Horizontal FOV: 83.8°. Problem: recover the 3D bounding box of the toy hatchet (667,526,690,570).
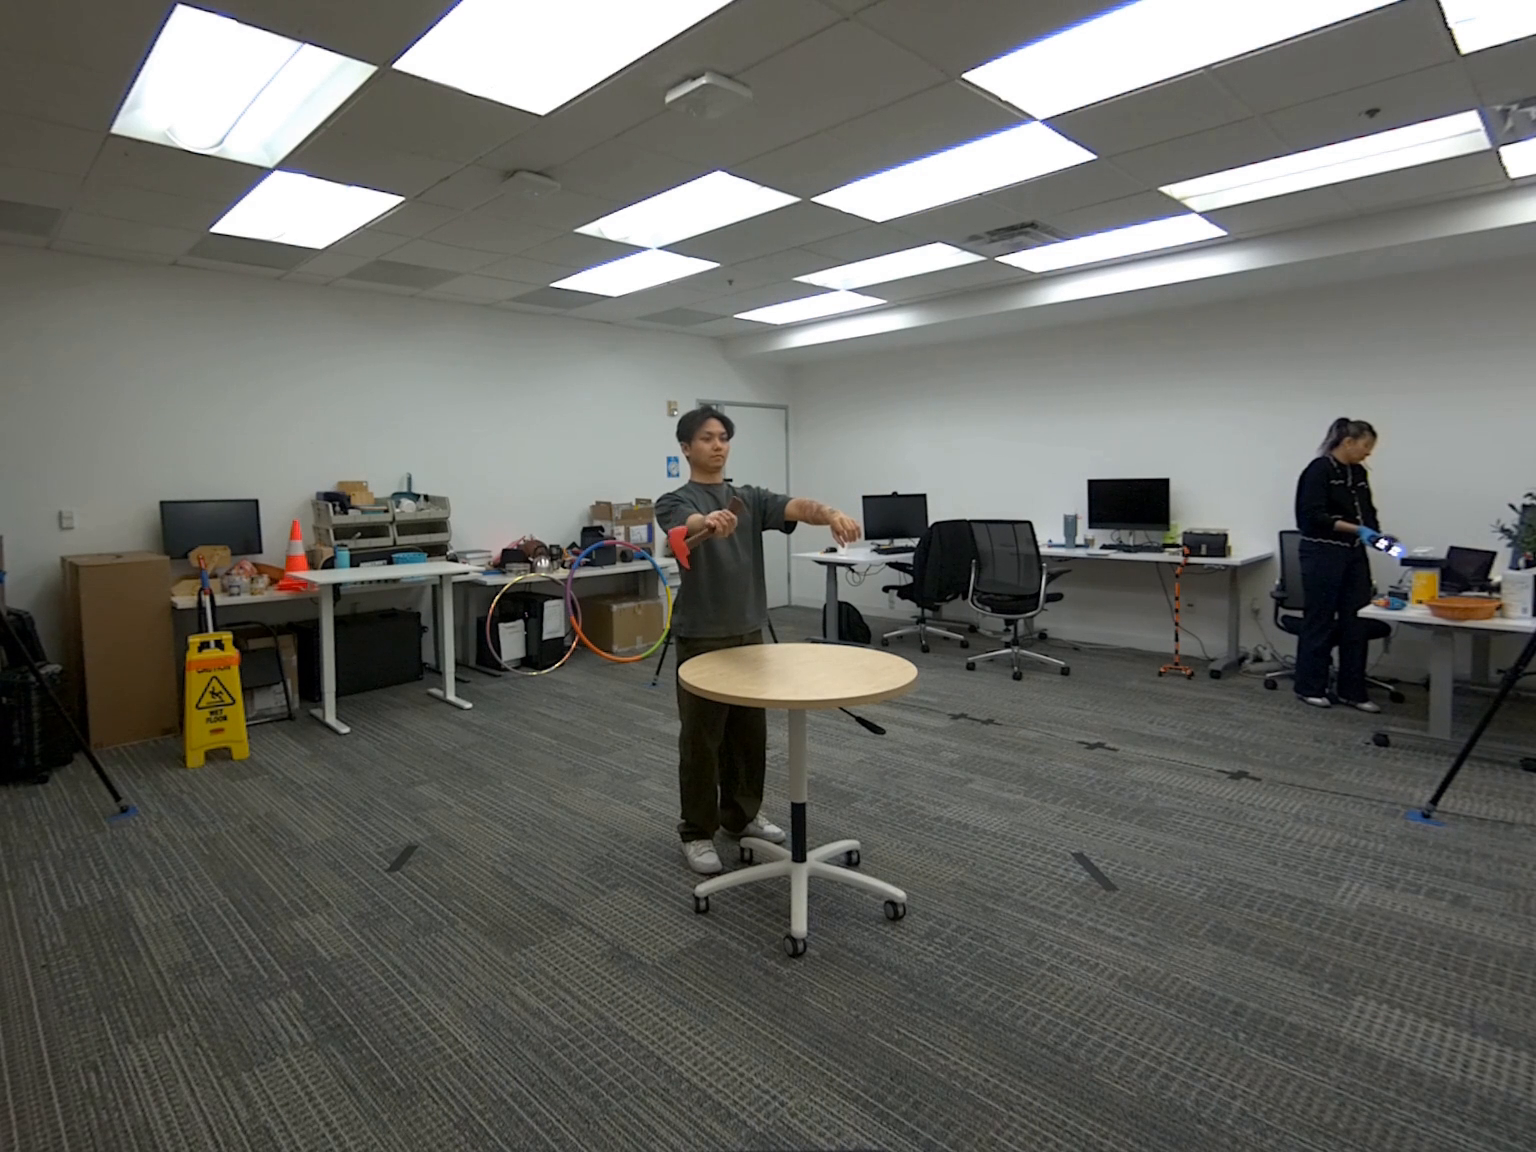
[{"bbox_3d":[-0.207,-0.173,2.577,0.128,0.270,0.030,44,-11,-20],"label":"toy hatchet"}]
